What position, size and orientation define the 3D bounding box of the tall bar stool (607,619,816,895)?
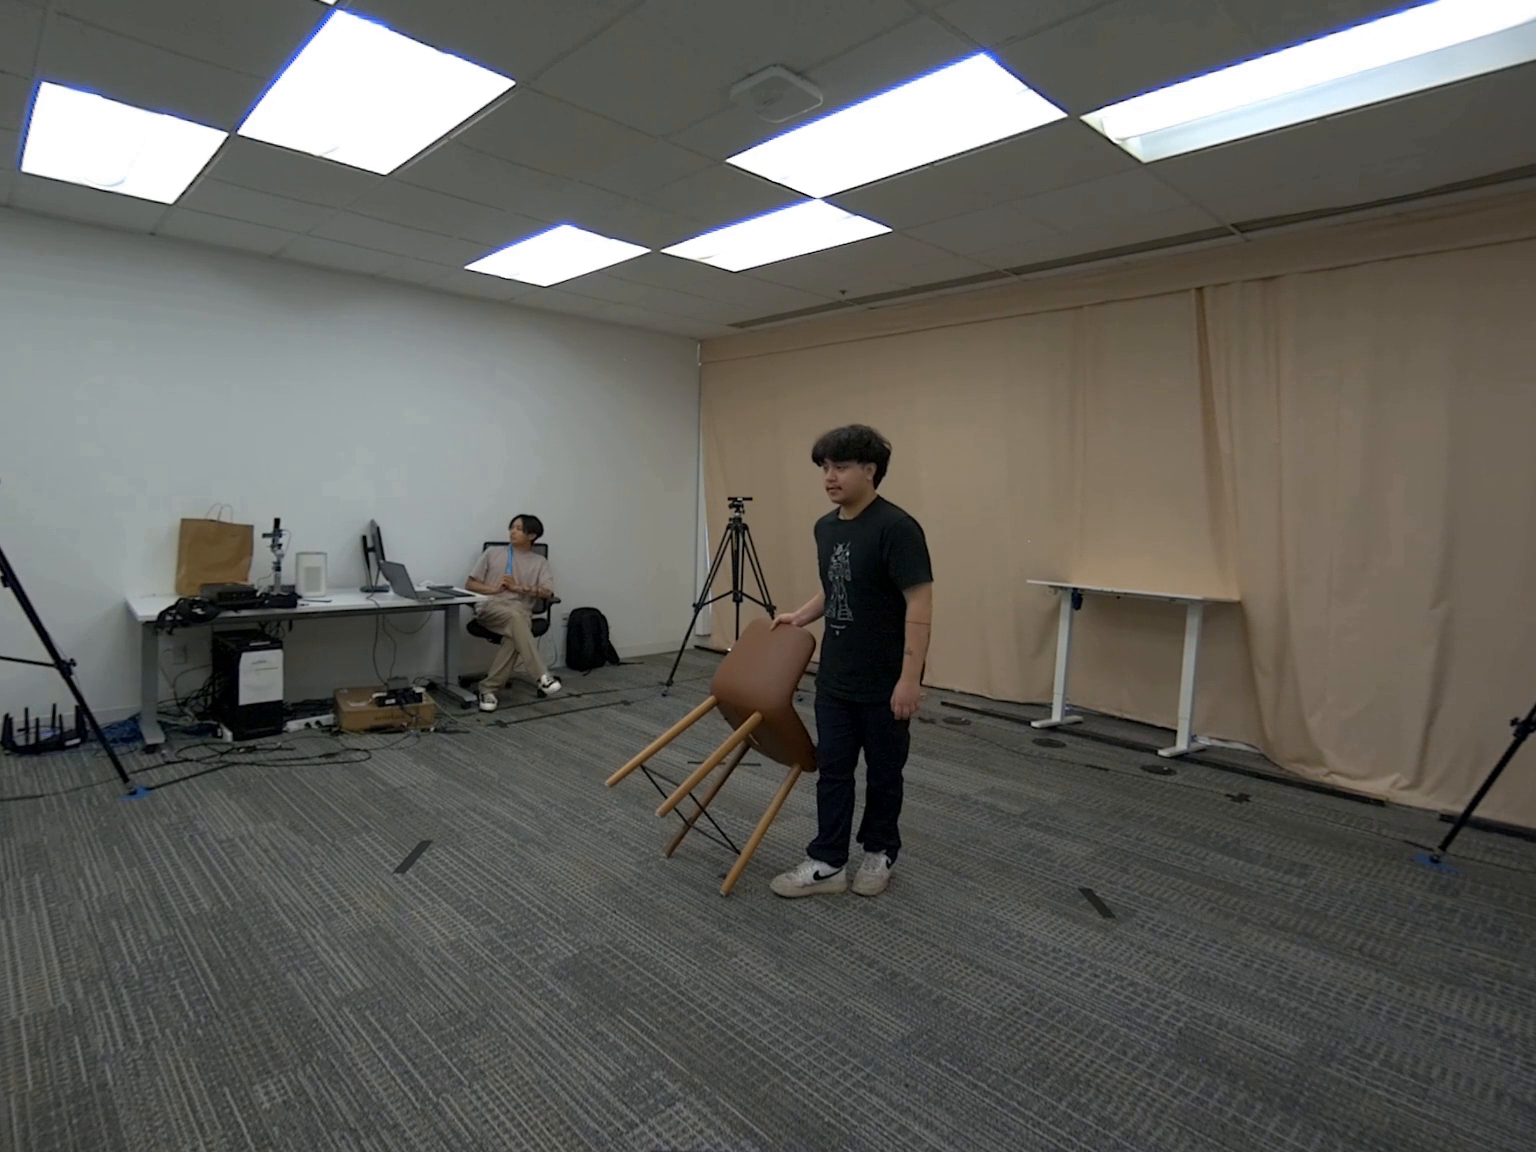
[{"bbox_3d":[-0.121,0.643,3.194,0.468,0.456,0.890,5,47,51],"label":"tall bar stool"}]
